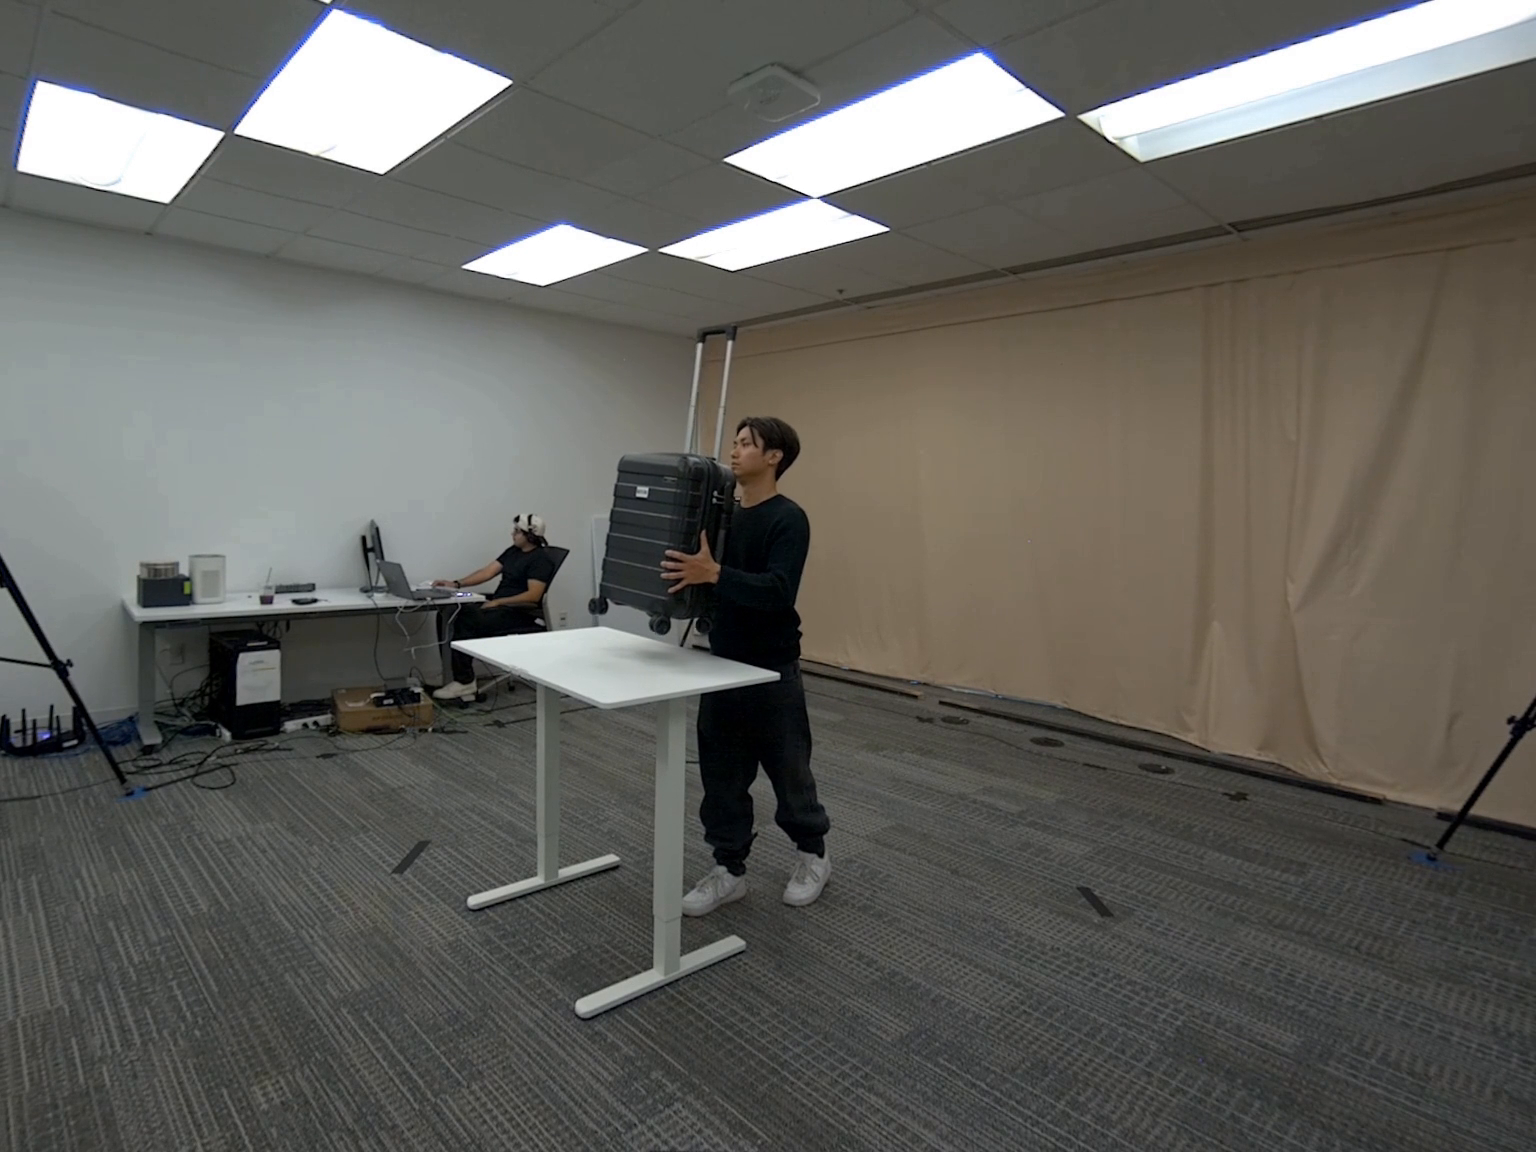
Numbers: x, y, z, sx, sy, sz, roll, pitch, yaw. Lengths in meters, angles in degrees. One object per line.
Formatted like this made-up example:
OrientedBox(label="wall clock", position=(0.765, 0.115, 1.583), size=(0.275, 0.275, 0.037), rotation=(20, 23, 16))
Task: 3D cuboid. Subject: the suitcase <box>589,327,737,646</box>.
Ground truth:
OrientedBox(label="suitcase", position=(-0.297, -0.316, 2.652), size=(0.394, 0.977, 0.250), rotation=(10, 3, 44))
